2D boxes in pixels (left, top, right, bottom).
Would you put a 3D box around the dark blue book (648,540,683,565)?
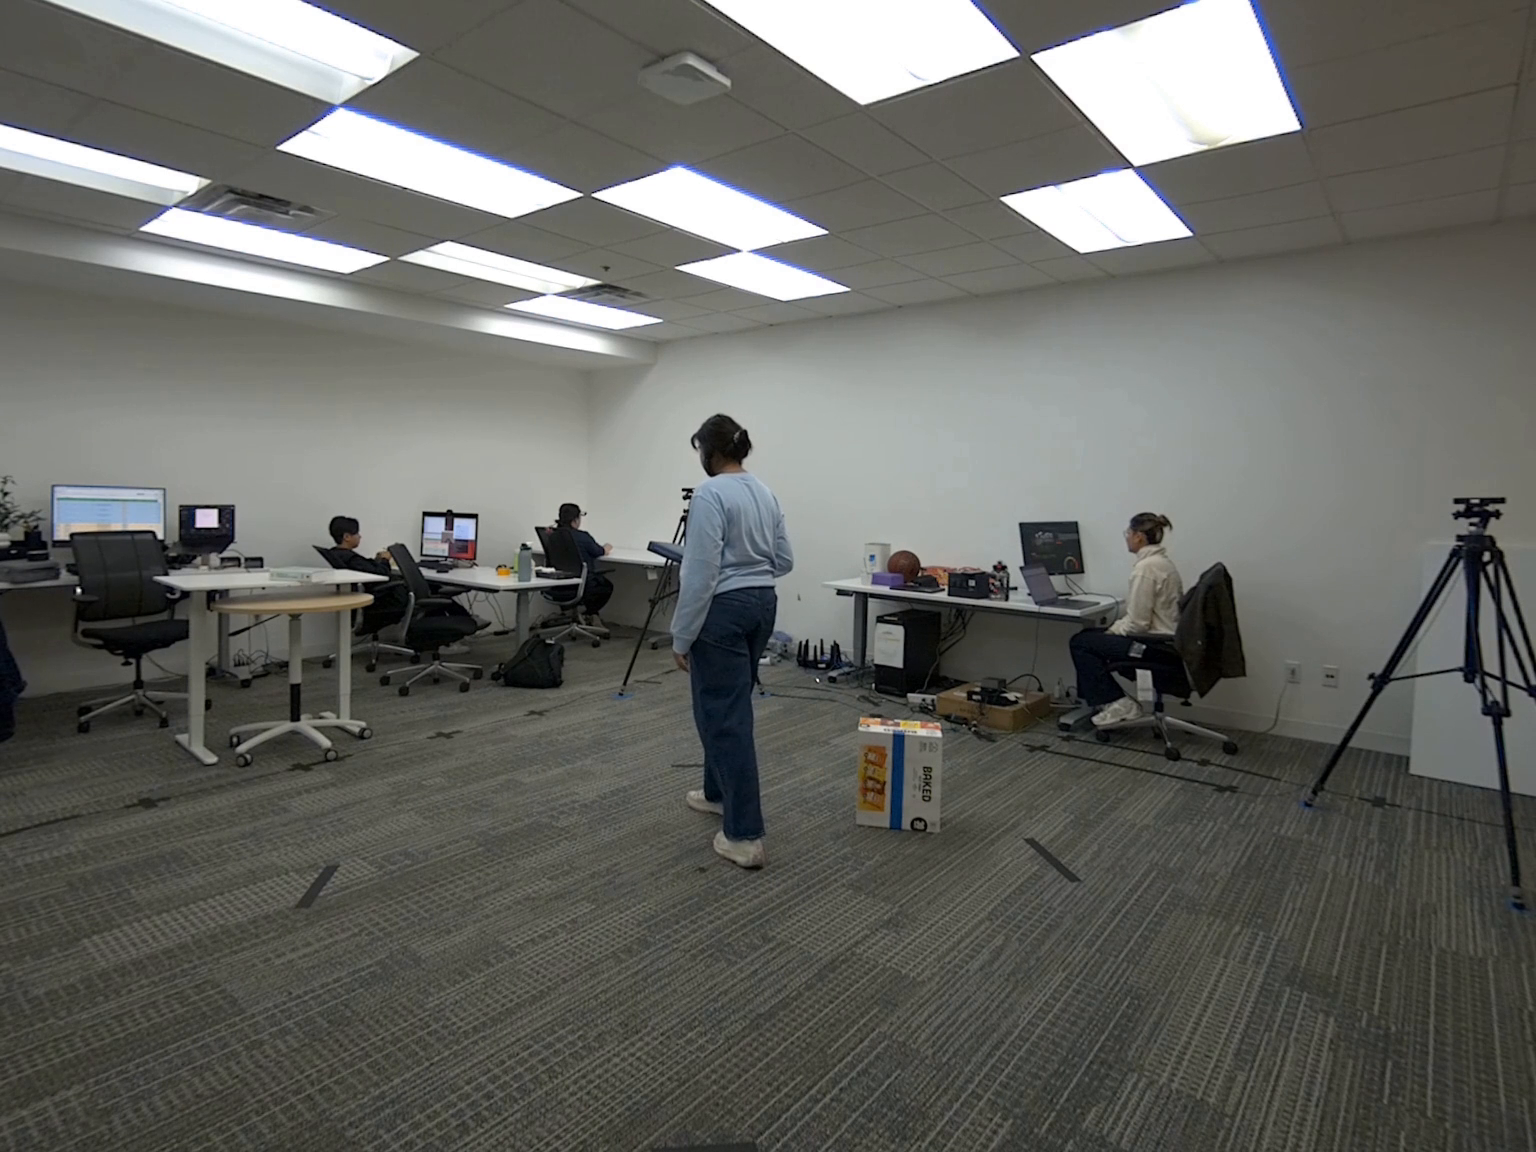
[{"bbox_3d":[-0.379,-0.096,3.591,0.255,0.045,0.158,21,12,39],"label":"dark blue book"}]
